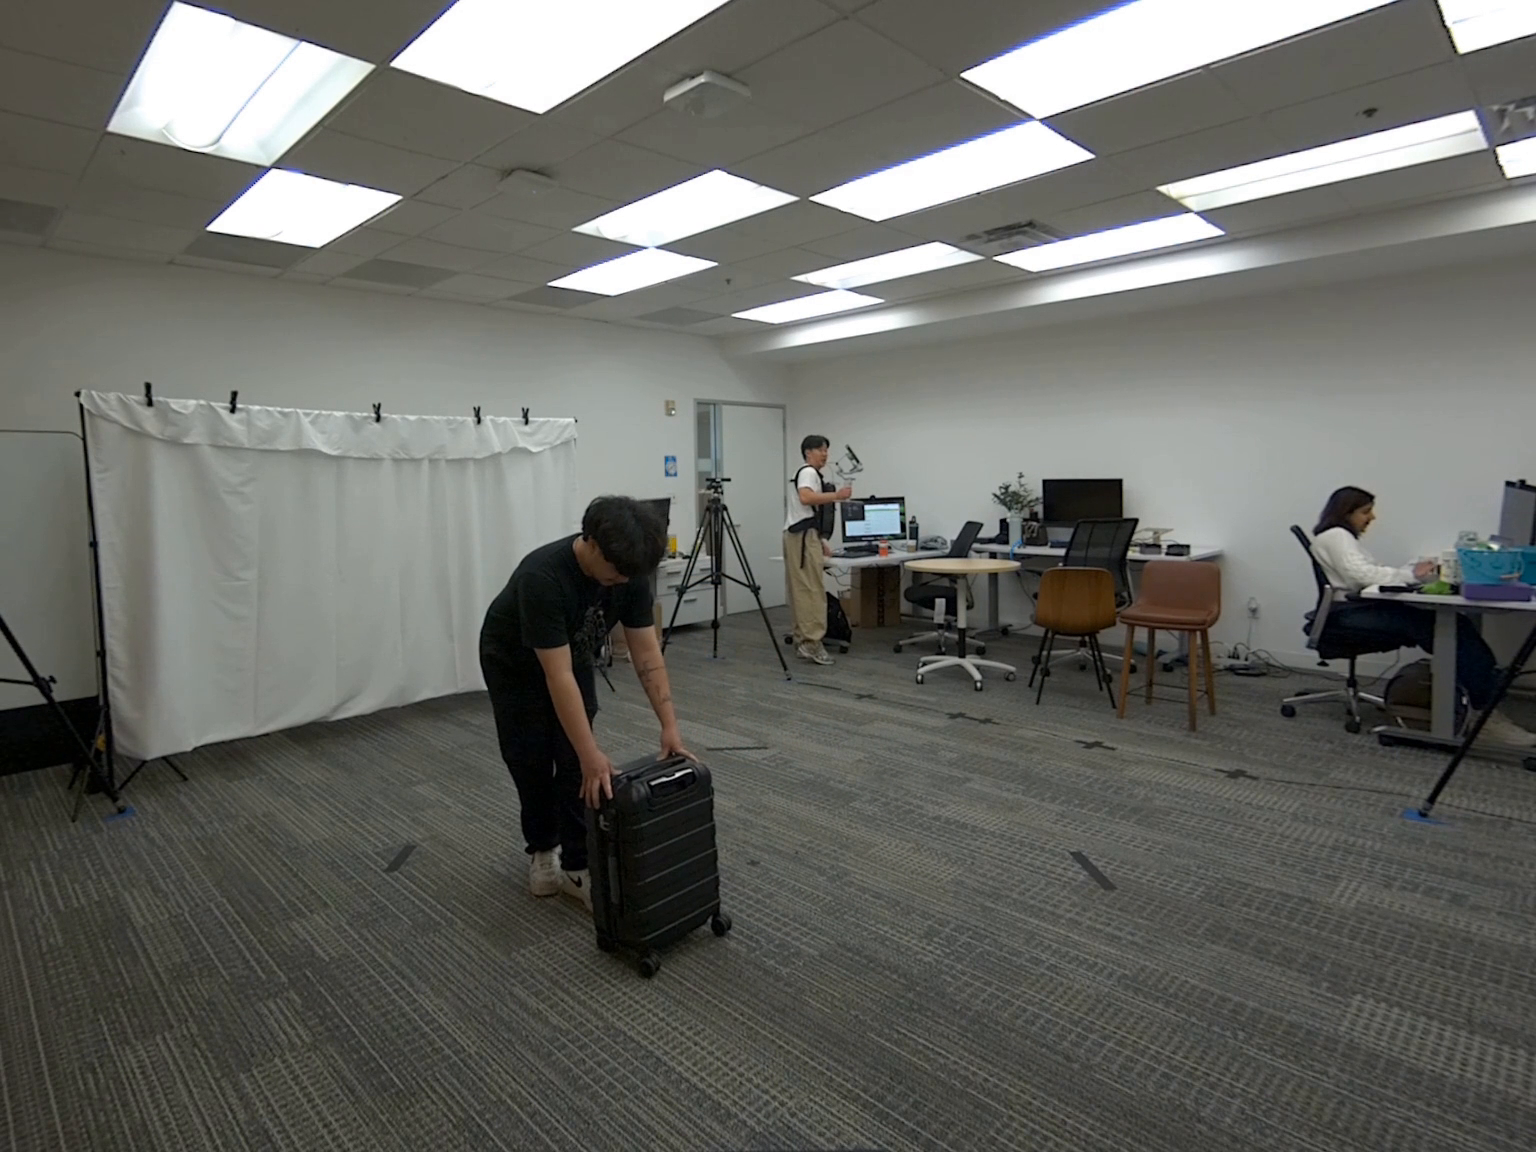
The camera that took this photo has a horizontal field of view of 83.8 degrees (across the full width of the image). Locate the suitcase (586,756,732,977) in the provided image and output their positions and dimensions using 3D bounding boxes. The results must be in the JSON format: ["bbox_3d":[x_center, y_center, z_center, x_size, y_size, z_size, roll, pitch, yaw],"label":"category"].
[{"bbox_3d":[-0.343,0.836,2.585,0.255,0.548,0.366,-3,4,43],"label":"suitcase"}]
